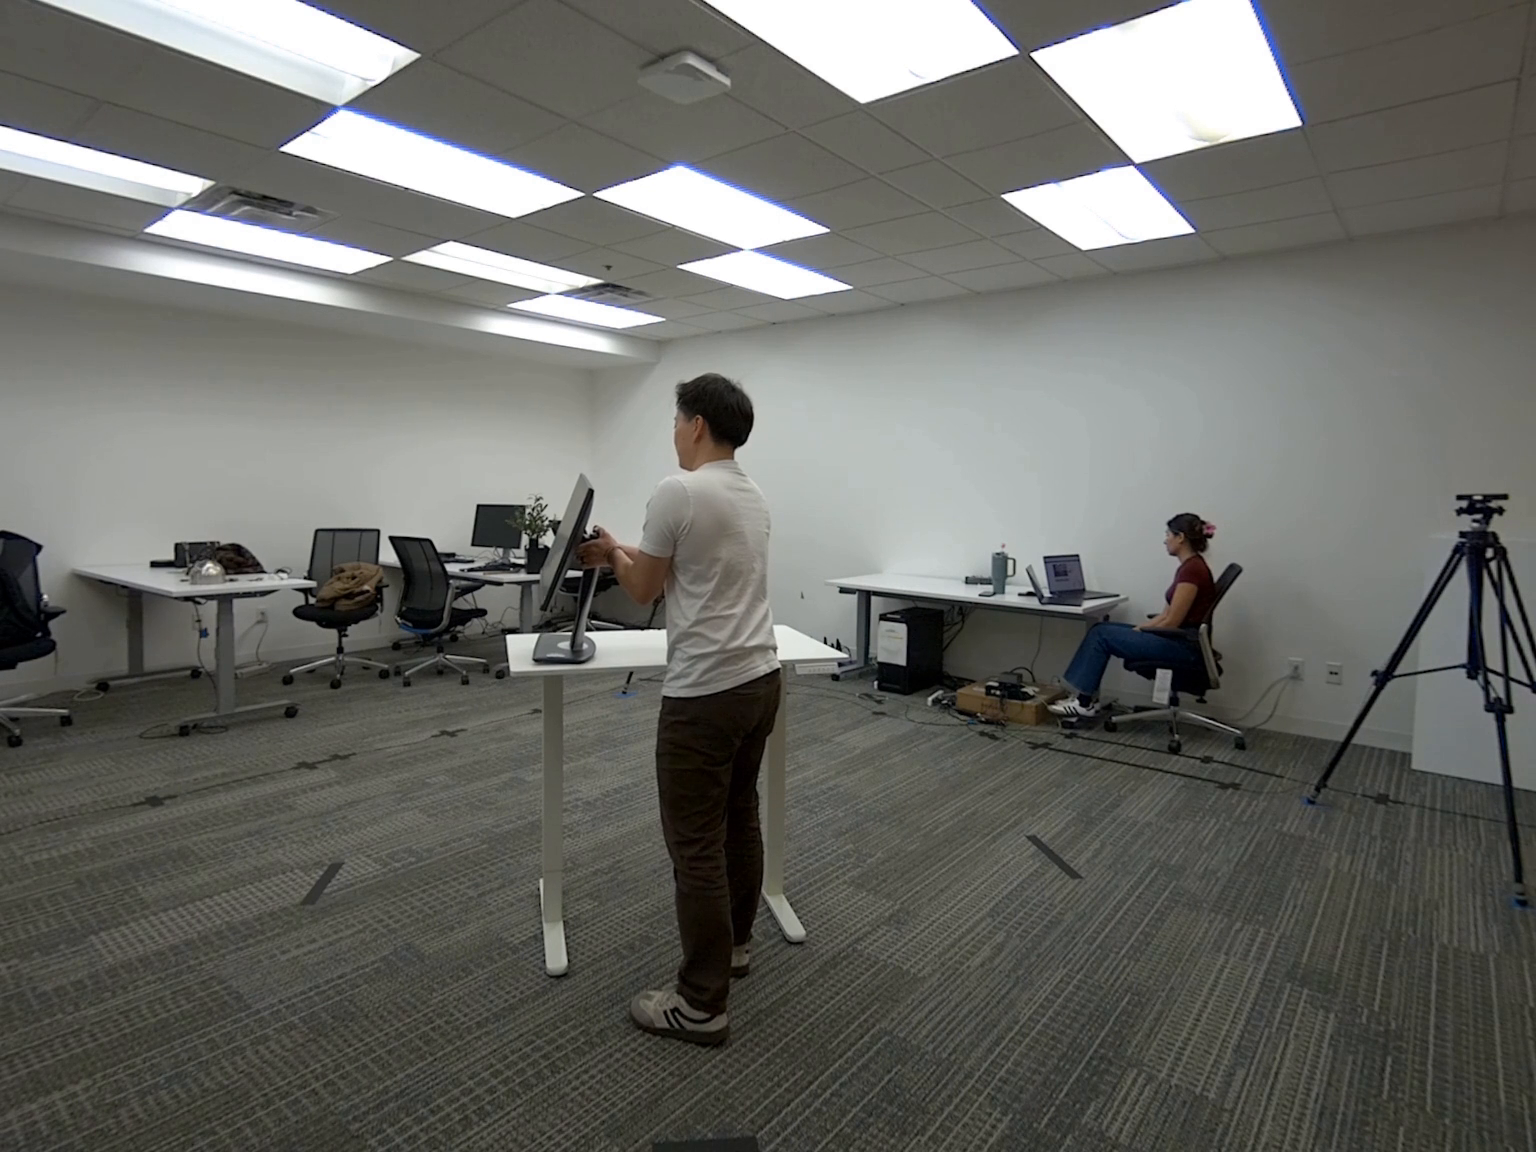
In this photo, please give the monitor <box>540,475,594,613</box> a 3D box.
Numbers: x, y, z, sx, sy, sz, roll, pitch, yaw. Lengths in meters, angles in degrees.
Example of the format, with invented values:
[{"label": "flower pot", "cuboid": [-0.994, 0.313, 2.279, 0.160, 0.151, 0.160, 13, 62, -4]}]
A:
[{"label": "monitor", "cuboid": [-0.590, -0.023, 2.516, 0.184, 0.519, 0.552, 6, 8, -17]}]
